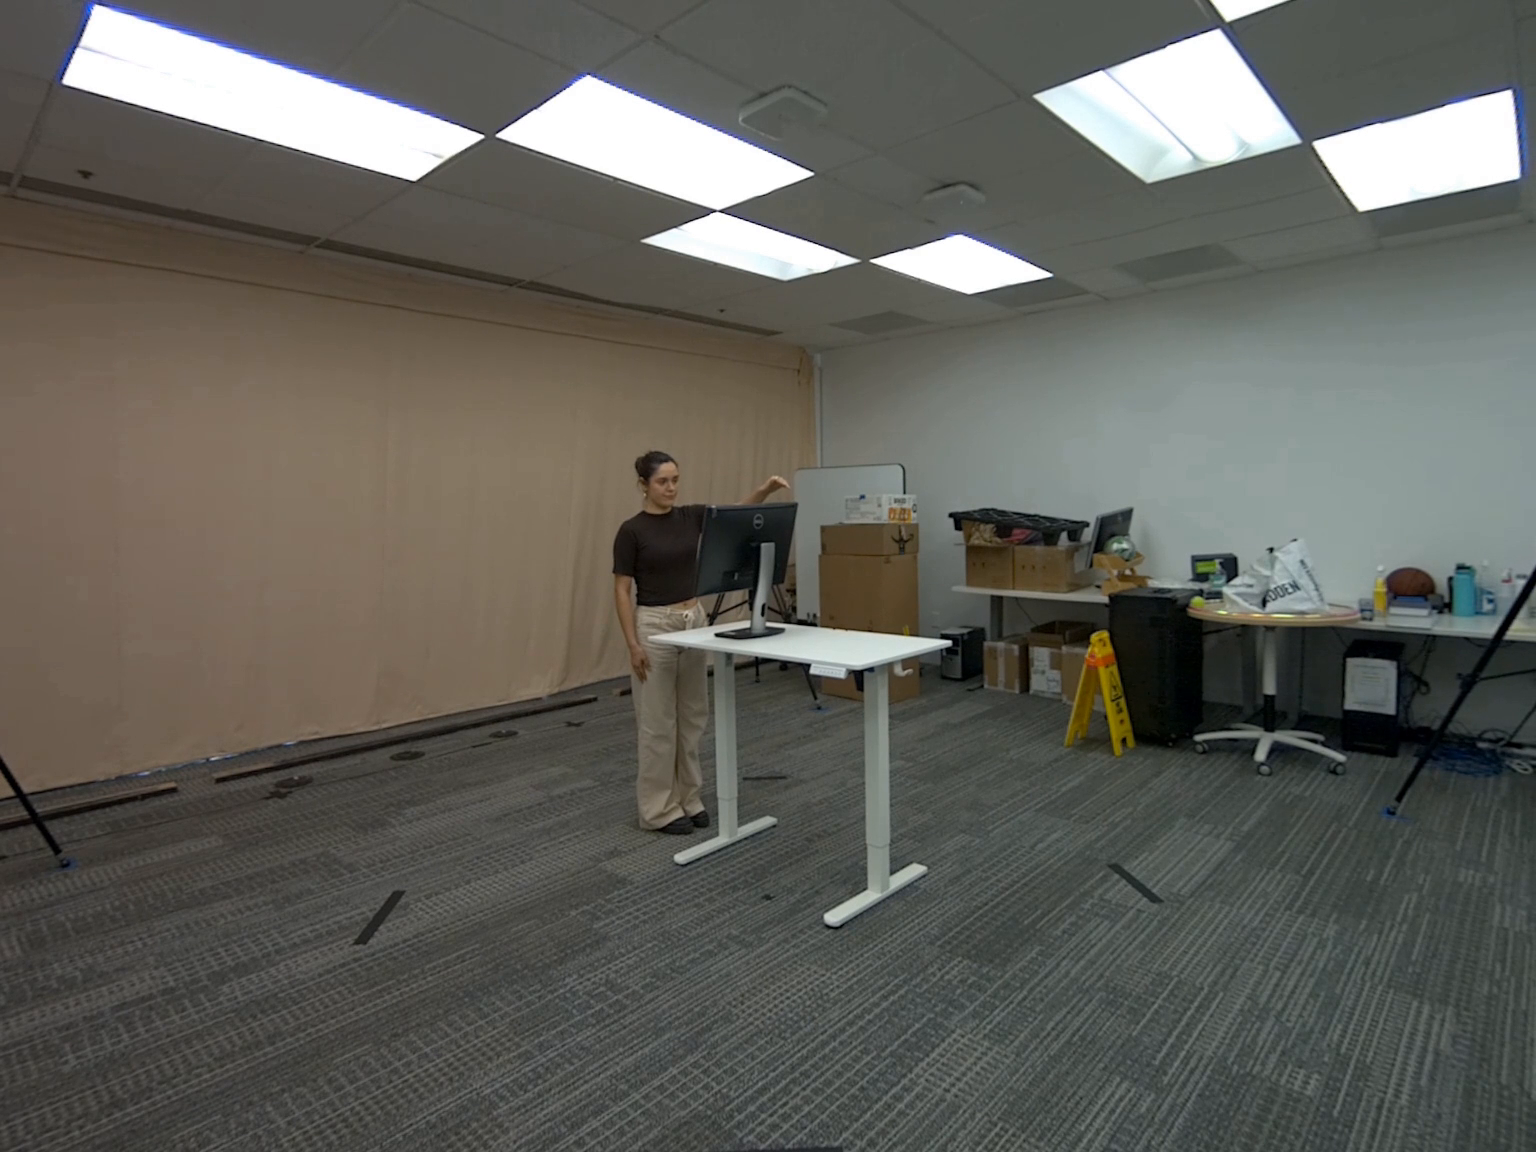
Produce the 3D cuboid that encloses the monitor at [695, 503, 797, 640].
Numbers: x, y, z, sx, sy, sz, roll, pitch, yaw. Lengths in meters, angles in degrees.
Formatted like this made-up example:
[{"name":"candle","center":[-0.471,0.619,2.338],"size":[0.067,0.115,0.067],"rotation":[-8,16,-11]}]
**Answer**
[{"name":"monitor","center":[-0.056,-0.019,3.308],"size":[0.193,0.521,0.523],"rotation":[5,8,40]}]
